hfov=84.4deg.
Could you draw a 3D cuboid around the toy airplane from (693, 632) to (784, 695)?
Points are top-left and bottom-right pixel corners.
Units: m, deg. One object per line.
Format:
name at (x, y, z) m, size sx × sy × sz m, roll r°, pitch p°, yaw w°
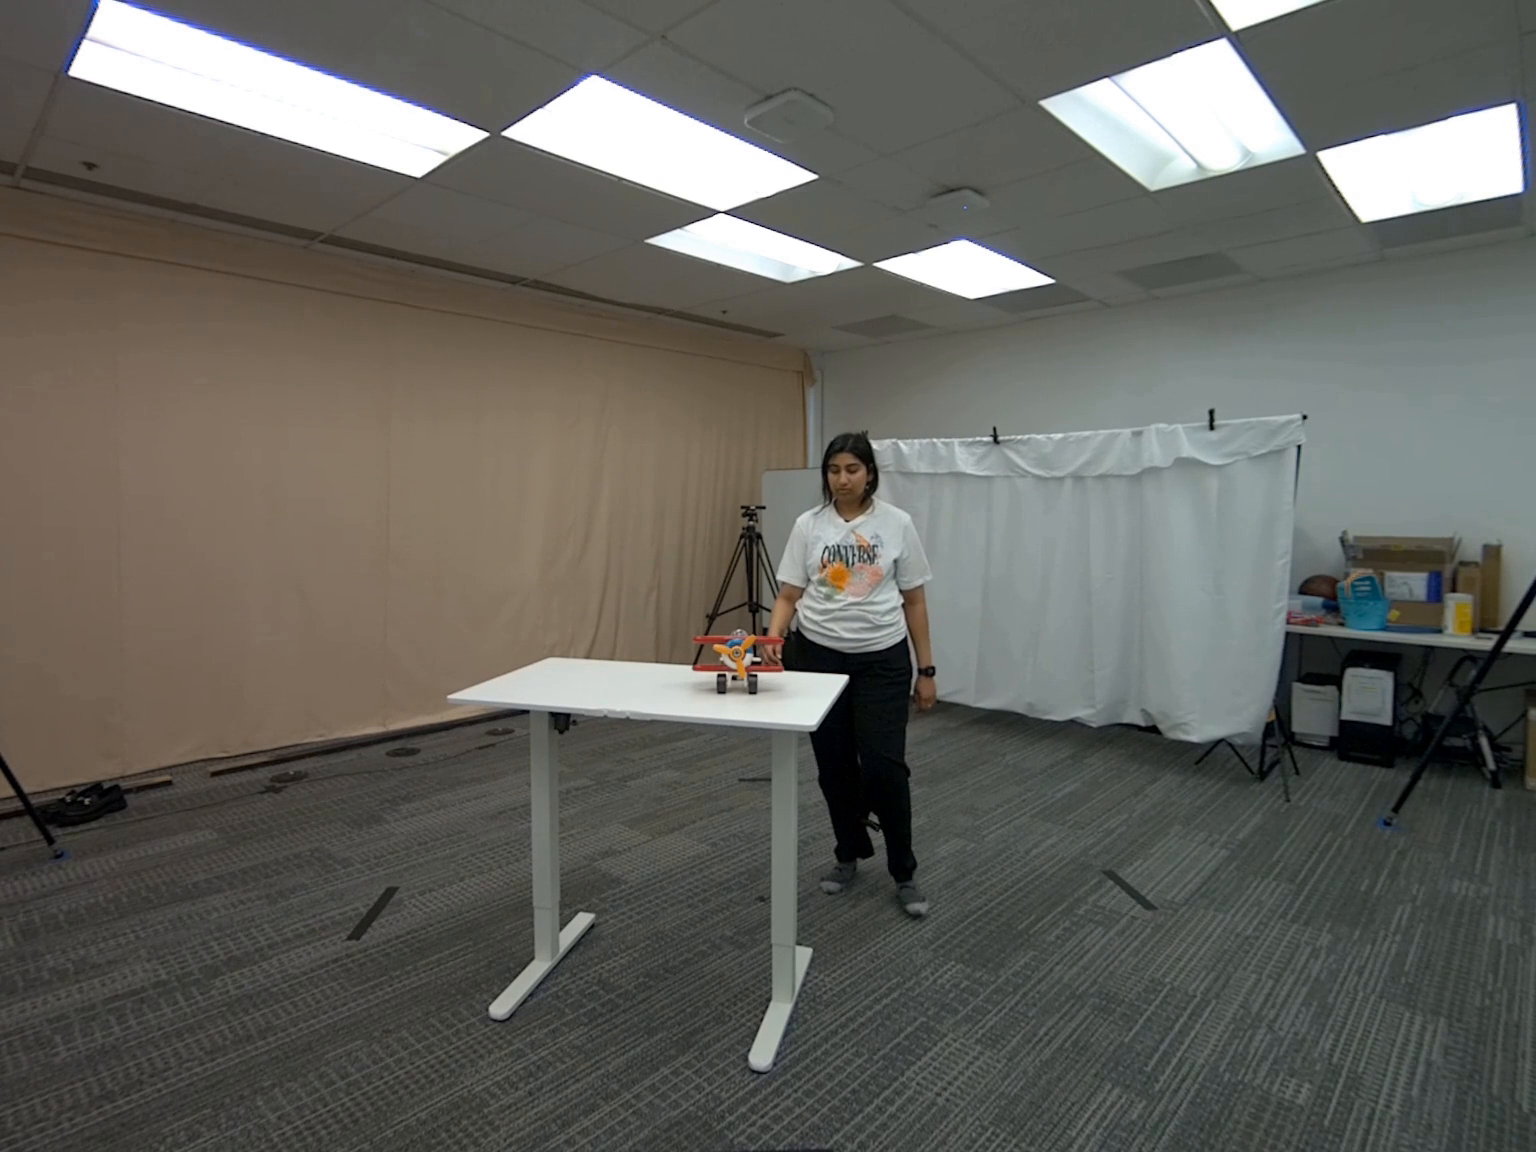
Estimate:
toy airplane at (-0.096, 0.239, 2.362) m, size 0.245 × 0.156 × 0.266 m, roll -4°, pitch 6°, yaw -26°
